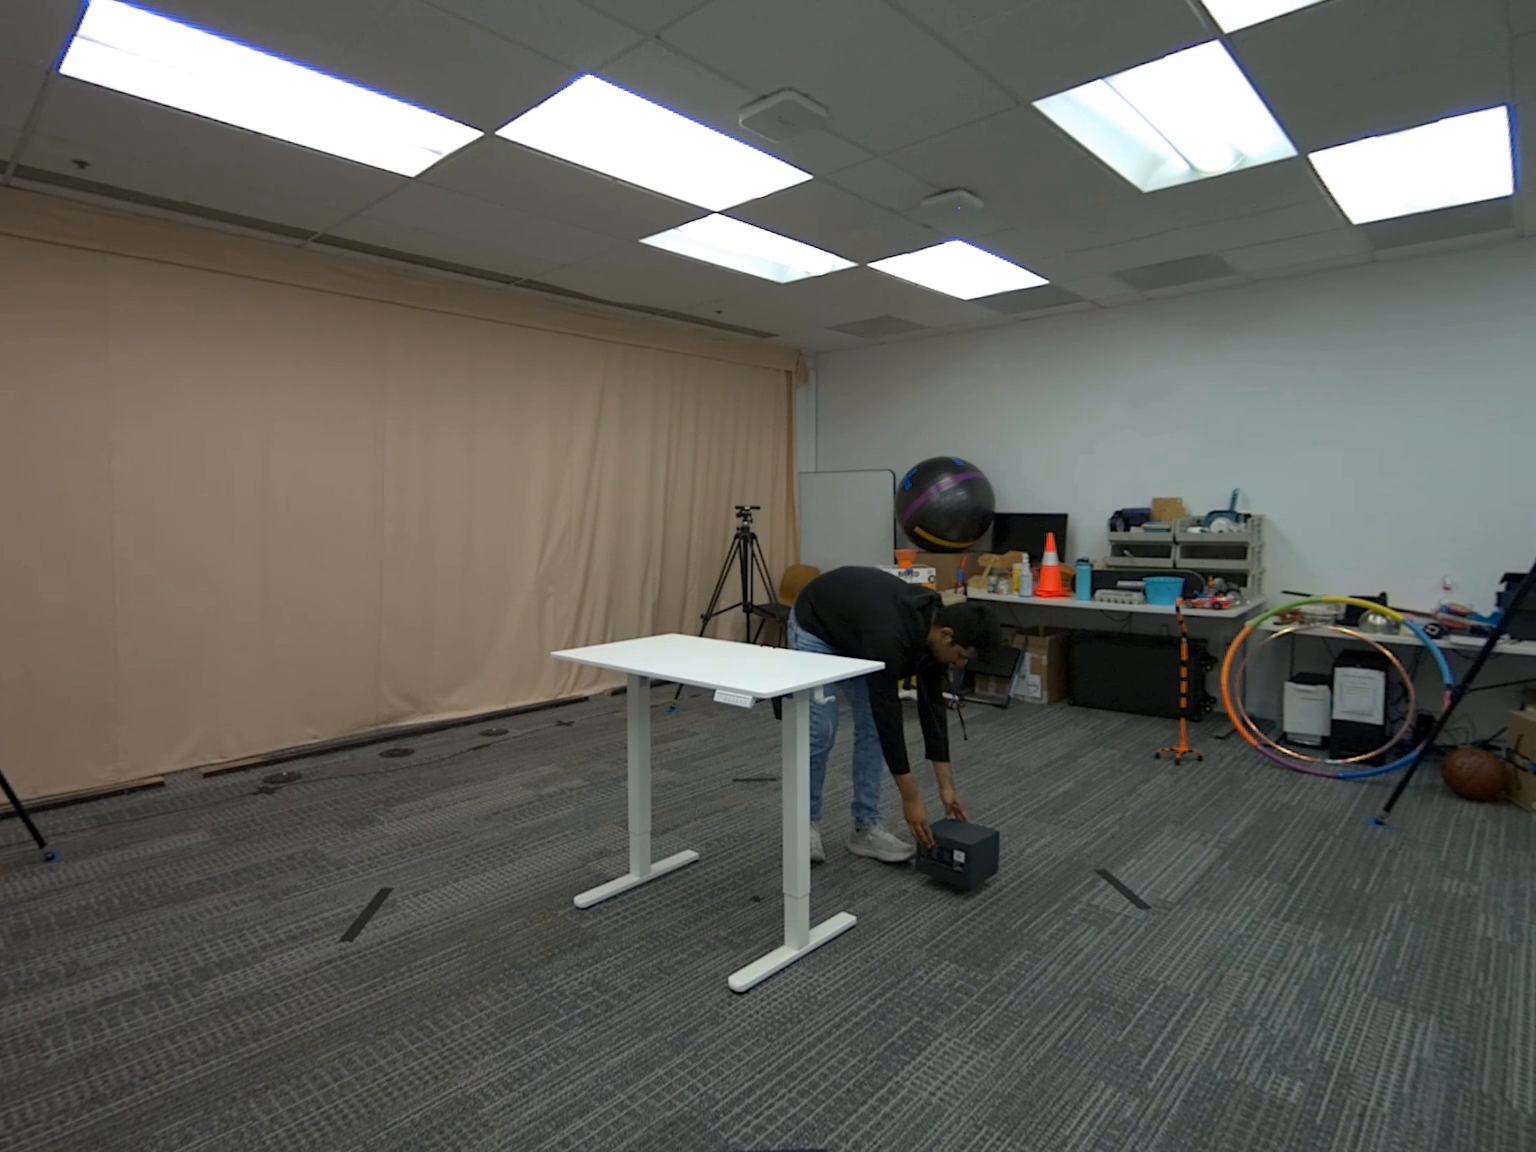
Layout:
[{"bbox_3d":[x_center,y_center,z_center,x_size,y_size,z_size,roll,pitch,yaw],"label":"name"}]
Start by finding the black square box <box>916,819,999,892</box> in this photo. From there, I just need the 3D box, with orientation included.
[{"bbox_3d":[0.698,1.002,3.091,0.224,0.156,0.221,3,2,41],"label":"black square box"}]
